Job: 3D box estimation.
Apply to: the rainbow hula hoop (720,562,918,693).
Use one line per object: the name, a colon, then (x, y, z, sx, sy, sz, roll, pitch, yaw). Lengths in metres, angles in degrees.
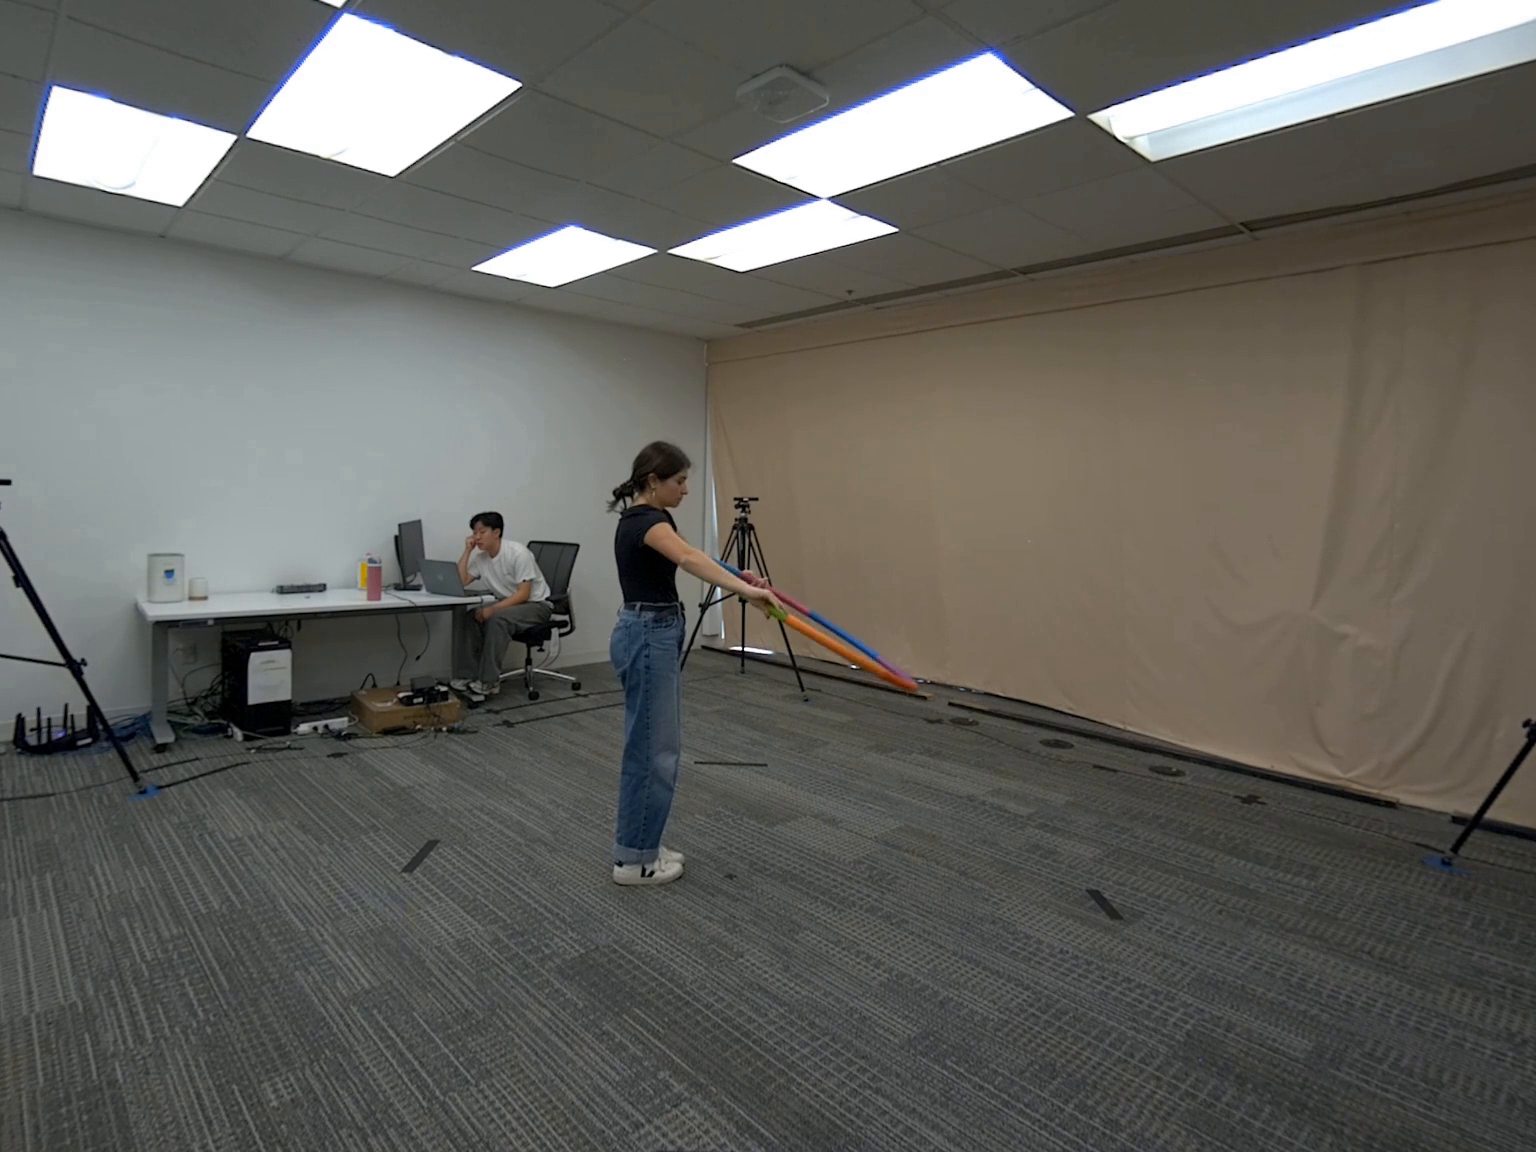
rainbow hula hoop: (0.079, 0.135, 3.117, 0.978, 0.035, 0.980, 31, 1, -2)
